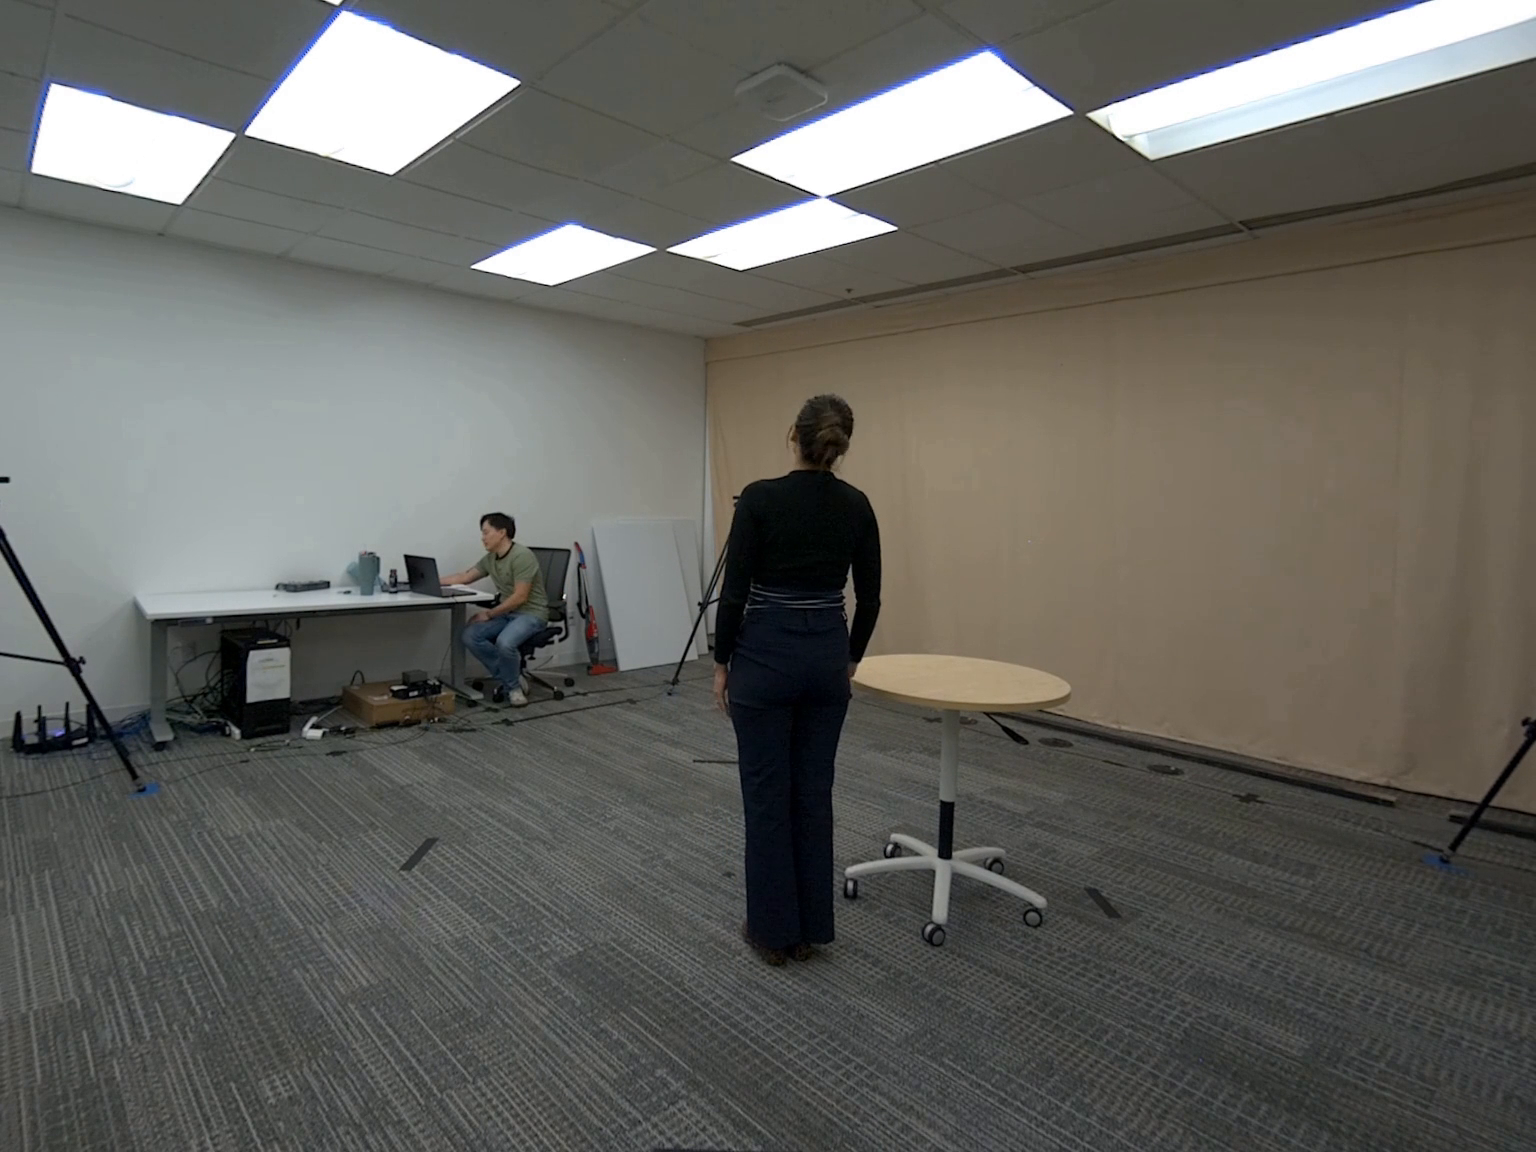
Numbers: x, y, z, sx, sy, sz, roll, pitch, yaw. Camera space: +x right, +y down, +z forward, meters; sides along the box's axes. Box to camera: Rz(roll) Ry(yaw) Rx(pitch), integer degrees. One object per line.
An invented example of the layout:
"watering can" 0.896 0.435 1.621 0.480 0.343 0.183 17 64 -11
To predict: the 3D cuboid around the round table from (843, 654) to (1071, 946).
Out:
"round table" 0.617 0.741 2.963 0.763 0.792 0.767 2 4 -2
